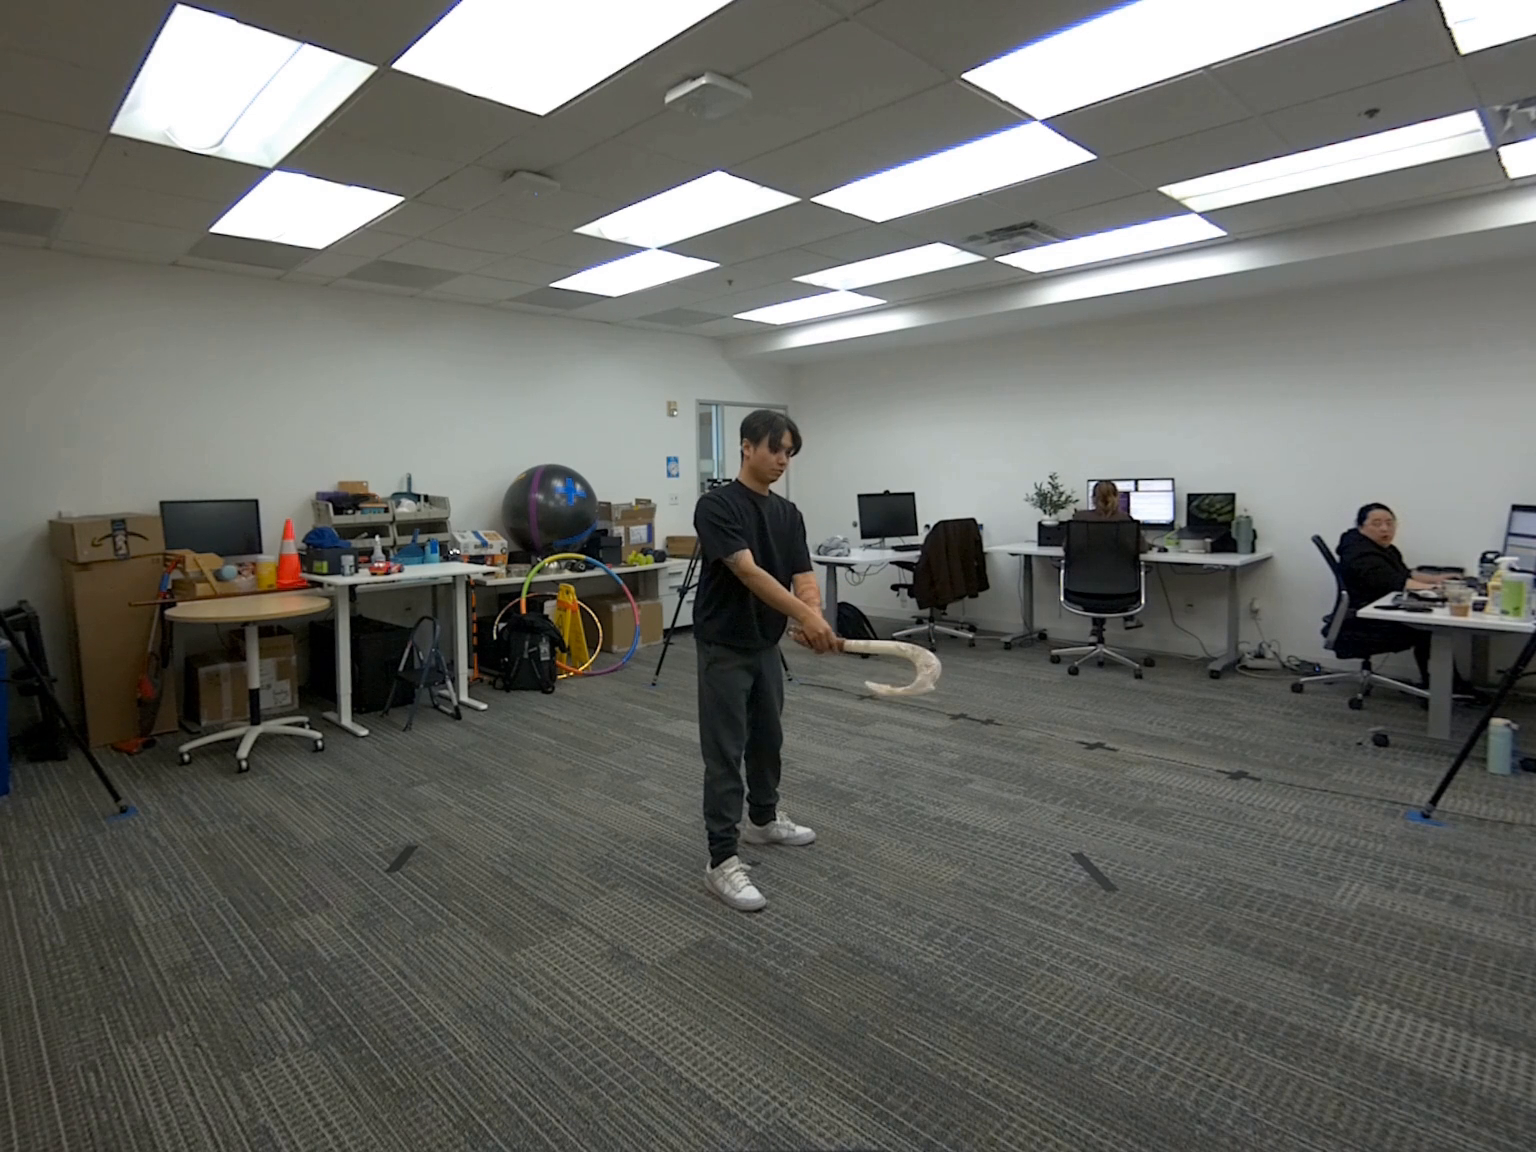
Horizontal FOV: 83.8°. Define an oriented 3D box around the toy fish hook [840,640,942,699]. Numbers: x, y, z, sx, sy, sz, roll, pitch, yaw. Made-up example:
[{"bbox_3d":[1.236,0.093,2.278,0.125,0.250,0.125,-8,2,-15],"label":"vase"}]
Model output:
[{"bbox_3d":[0.261,0.258,2.624,0.518,0.047,0.226,9,37,21],"label":"toy fish hook"}]
